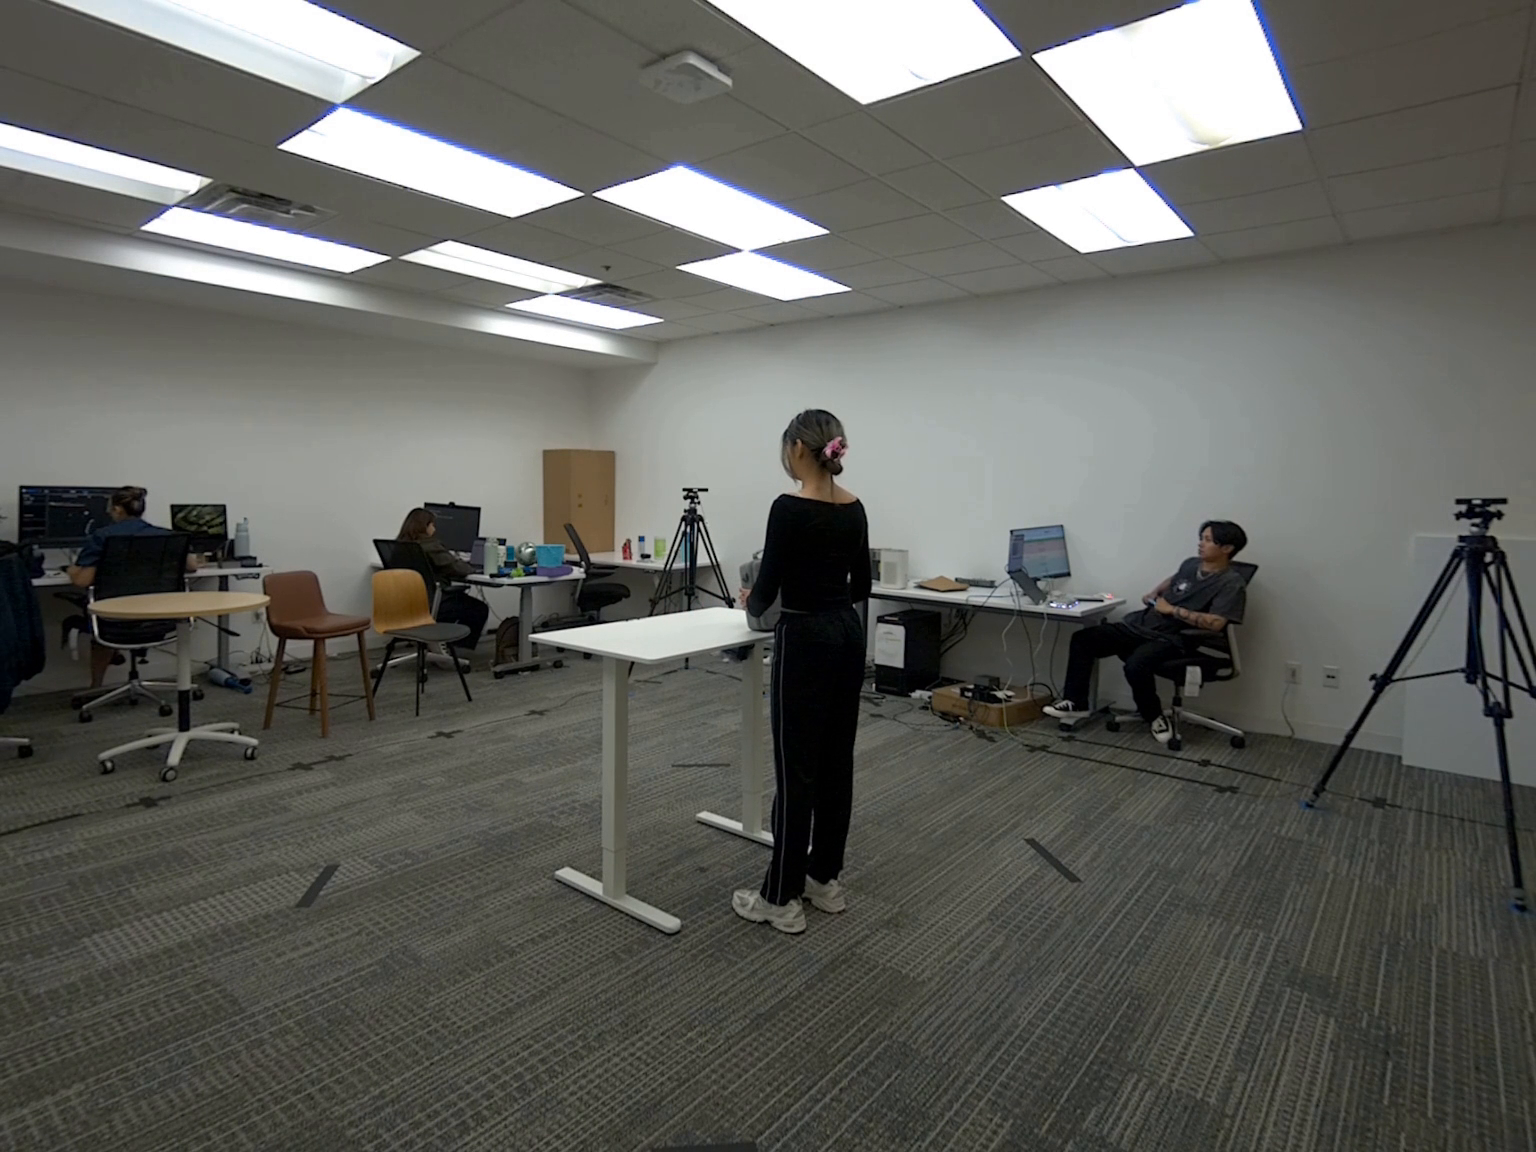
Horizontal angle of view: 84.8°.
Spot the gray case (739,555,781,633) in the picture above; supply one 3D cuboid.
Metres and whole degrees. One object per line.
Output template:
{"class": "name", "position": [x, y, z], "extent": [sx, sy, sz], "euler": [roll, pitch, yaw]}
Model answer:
{"class": "gray case", "position": [0.017, 0.059, 3.111], "extent": [0.249, 0.262, 0.107], "euler": [-3, -8, -43]}
